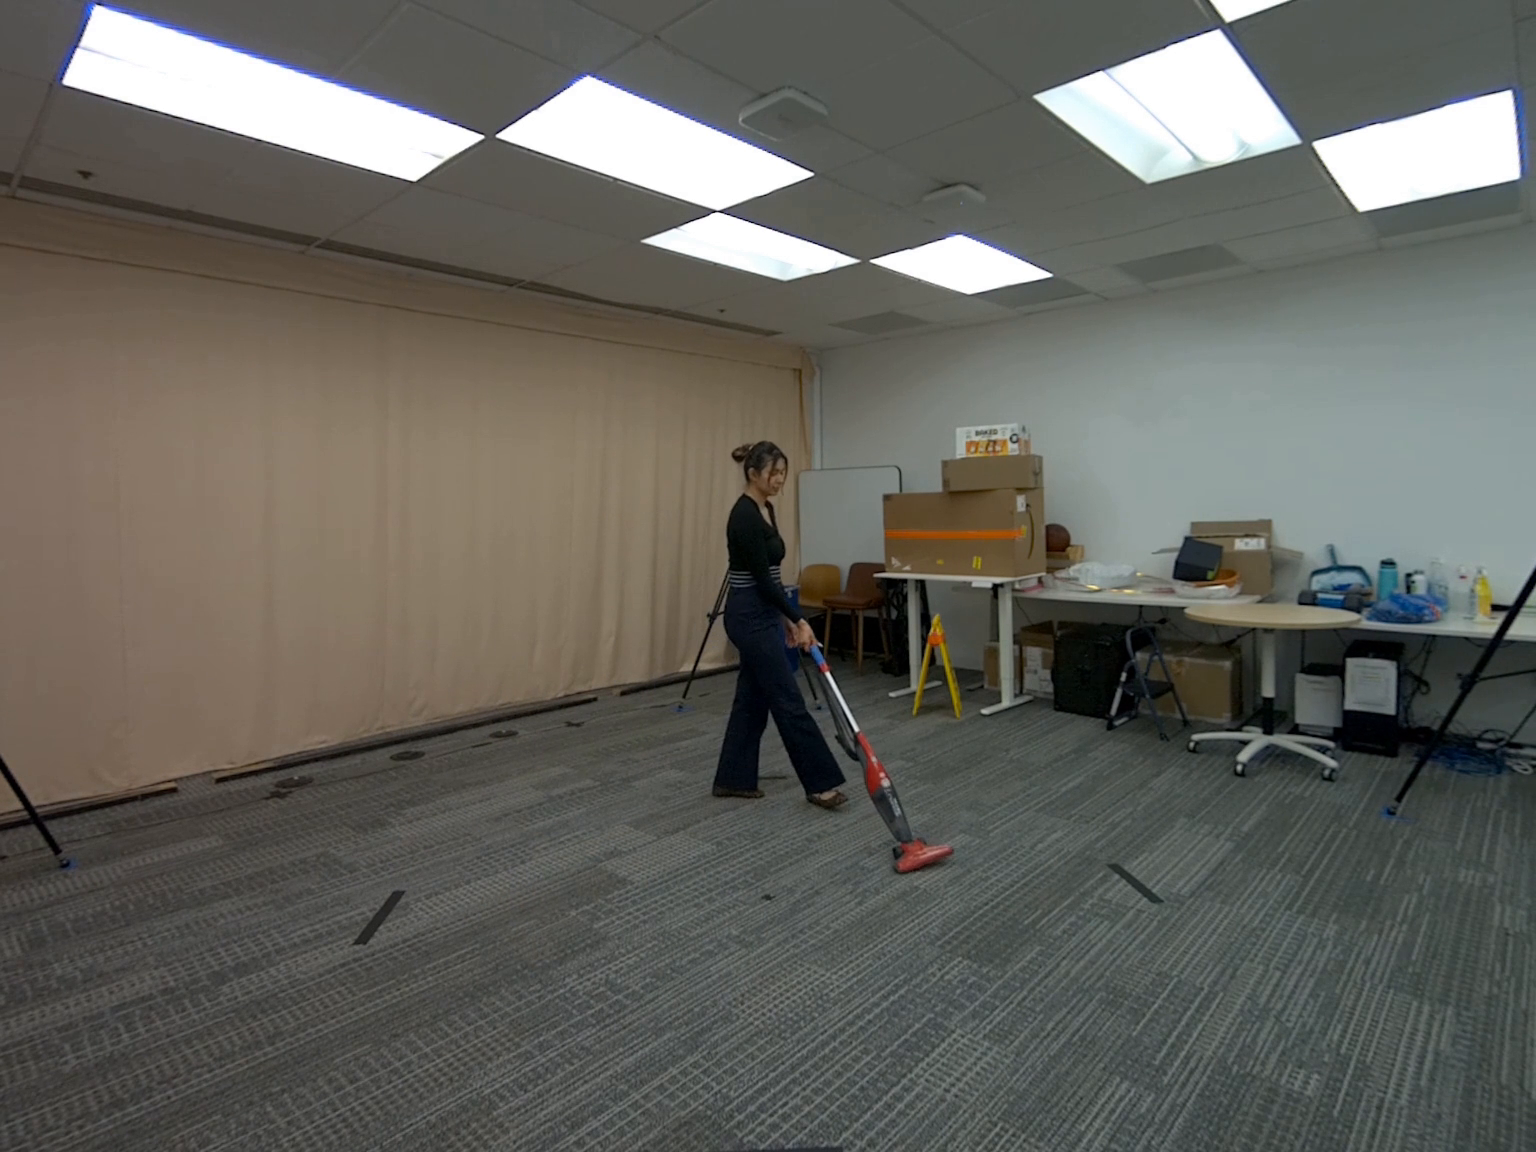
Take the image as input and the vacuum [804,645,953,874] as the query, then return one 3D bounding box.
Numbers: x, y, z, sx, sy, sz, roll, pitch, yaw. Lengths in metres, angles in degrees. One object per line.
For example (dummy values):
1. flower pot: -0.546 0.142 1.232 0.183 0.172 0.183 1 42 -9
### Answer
1. vacuum: 0.380 0.687 3.526 0.247 1.079 0.143 -9 -37 -26
